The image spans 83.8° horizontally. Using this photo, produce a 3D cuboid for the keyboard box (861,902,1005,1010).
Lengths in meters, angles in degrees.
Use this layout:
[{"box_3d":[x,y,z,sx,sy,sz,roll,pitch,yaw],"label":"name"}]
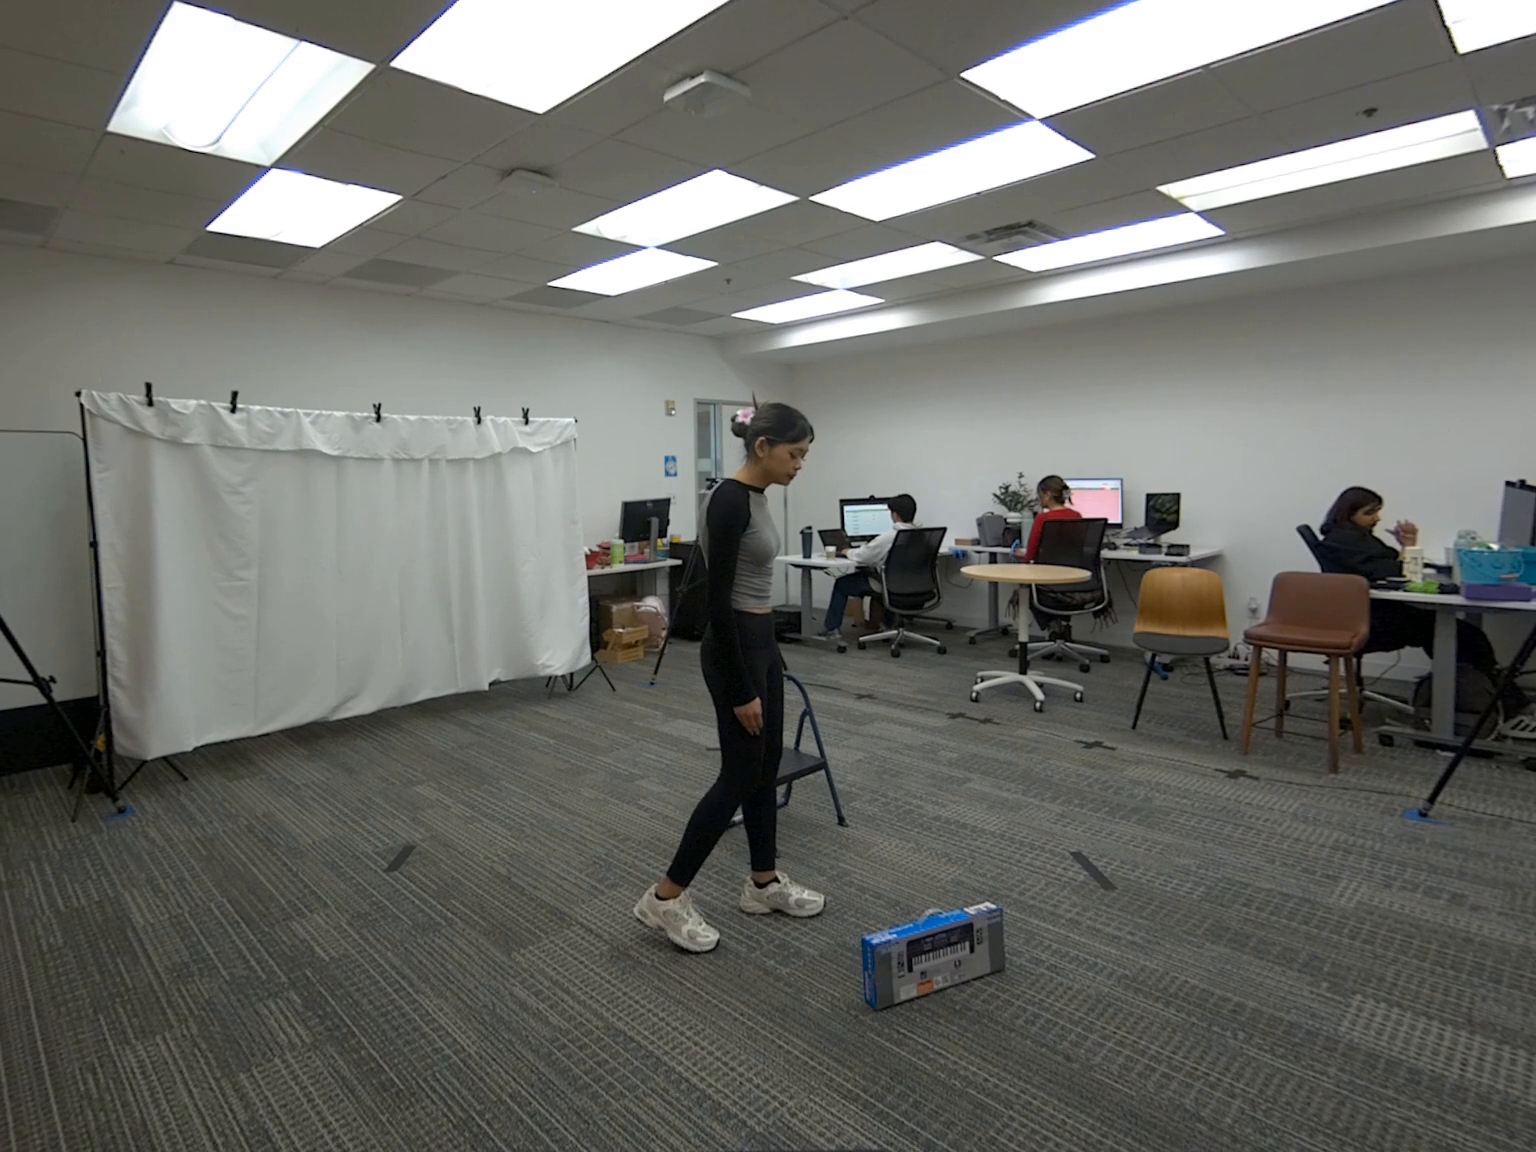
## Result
[{"box_3d":[0.466,1.036,2.340,0.428,0.176,0.060,-4,0,-24],"label":"keyboard box"}]
